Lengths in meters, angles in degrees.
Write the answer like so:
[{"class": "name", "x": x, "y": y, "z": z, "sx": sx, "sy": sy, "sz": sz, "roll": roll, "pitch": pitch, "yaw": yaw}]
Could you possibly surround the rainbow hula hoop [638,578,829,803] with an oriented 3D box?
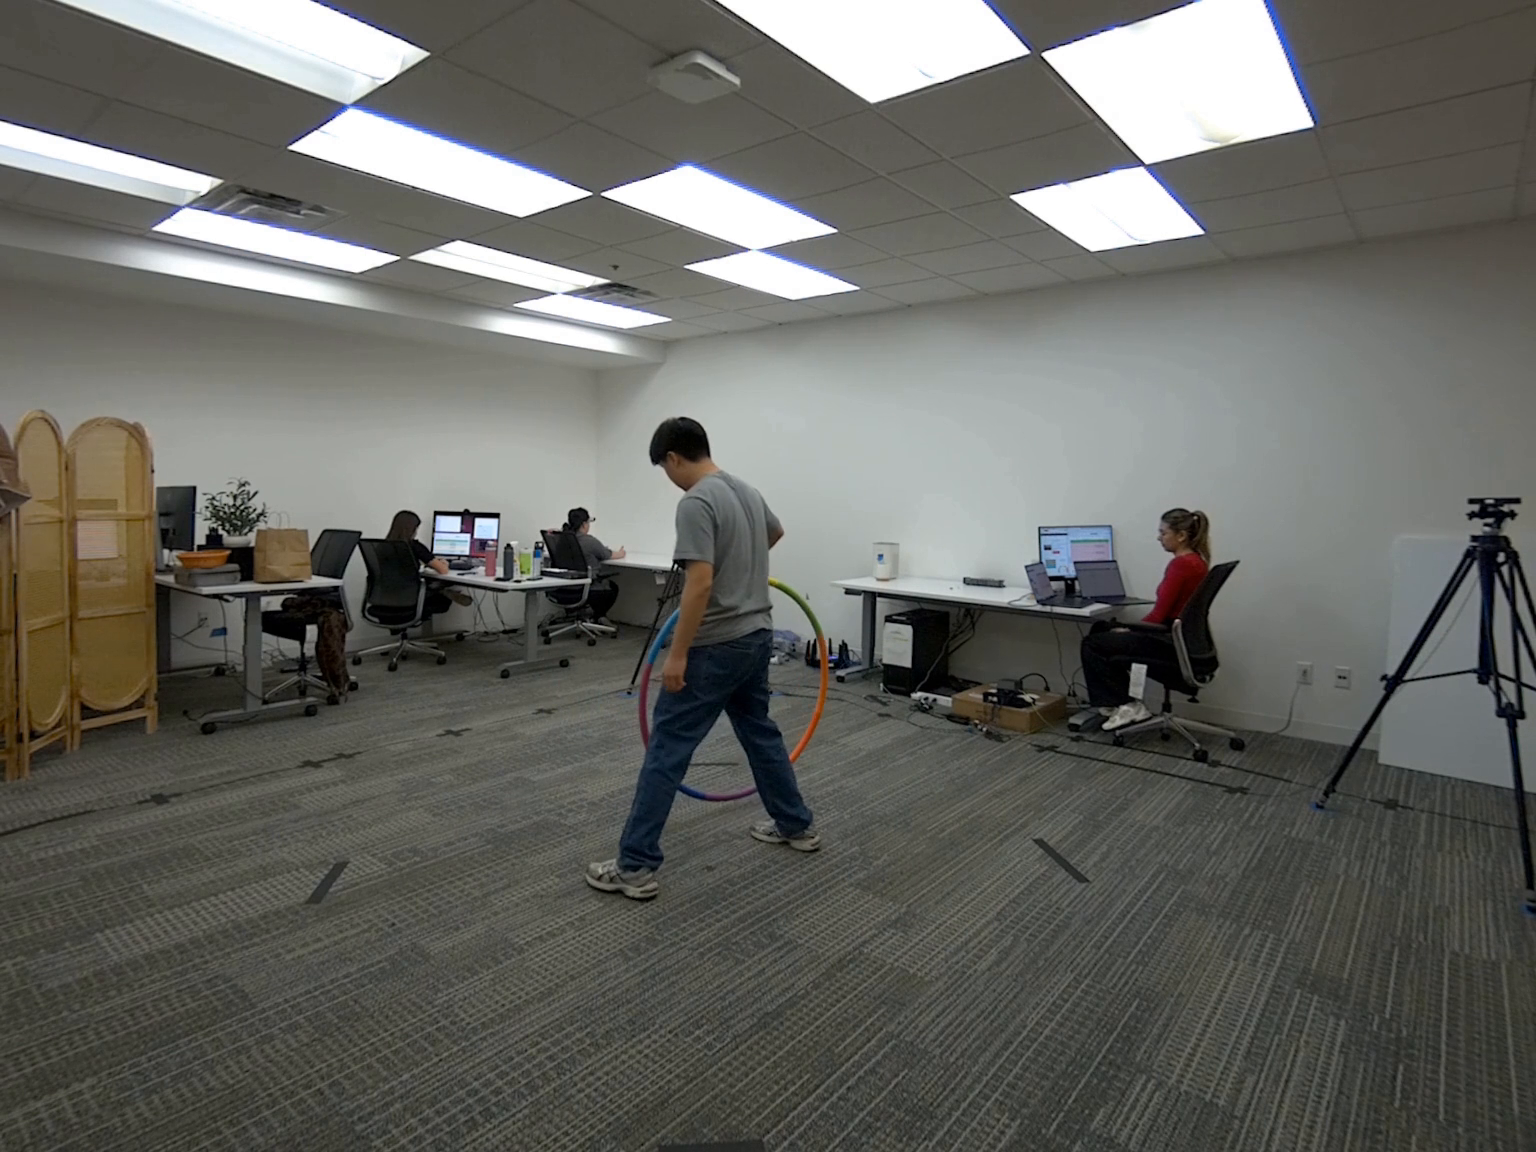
[{"class": "rainbow hula hoop", "x": -0.138, "y": 0.480, "z": 3.655, "sx": 0.951, "sy": 0.973, "sz": 0.037, "roll": -2, "pitch": 7, "yaw": -34}]
